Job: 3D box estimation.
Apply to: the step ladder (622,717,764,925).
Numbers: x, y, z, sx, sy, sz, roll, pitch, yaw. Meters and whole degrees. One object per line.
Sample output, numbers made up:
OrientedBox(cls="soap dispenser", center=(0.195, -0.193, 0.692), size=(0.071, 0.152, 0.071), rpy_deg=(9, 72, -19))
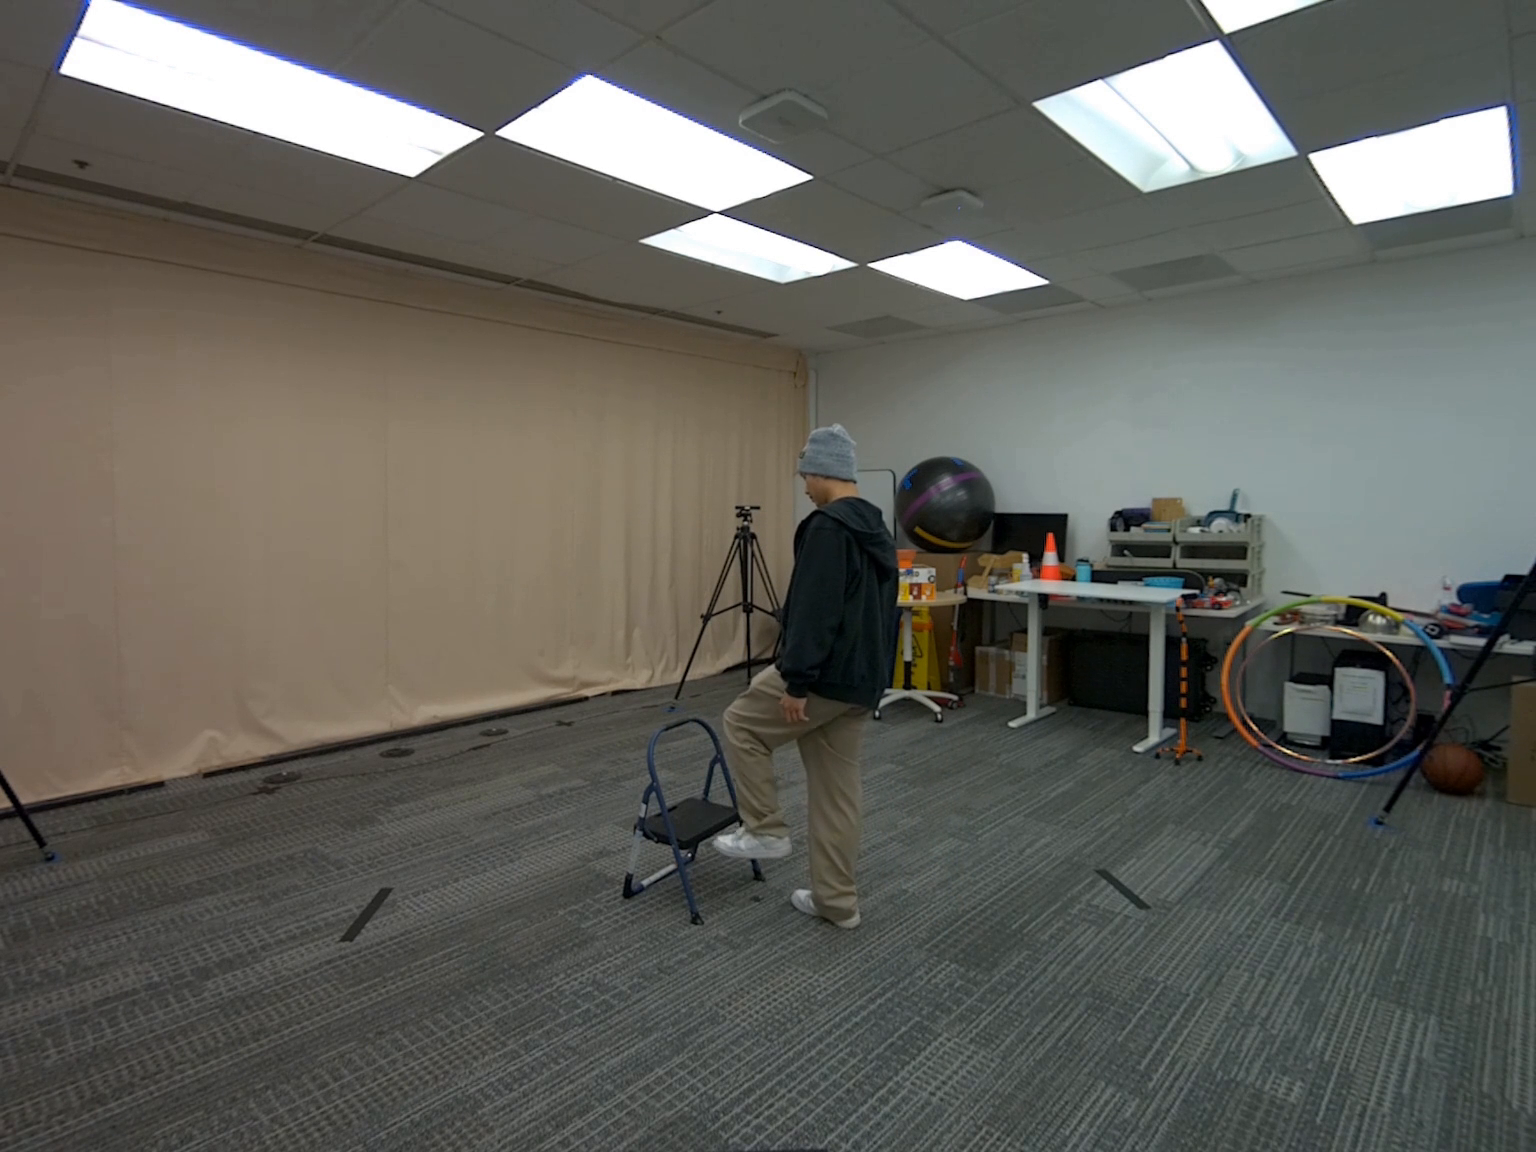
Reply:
OrientedBox(cls="step ladder", center=(-0.267, 0.836, 3.053), size=(0.360, 0.605, 0.418), rpy_deg=(2, 4, 33))
